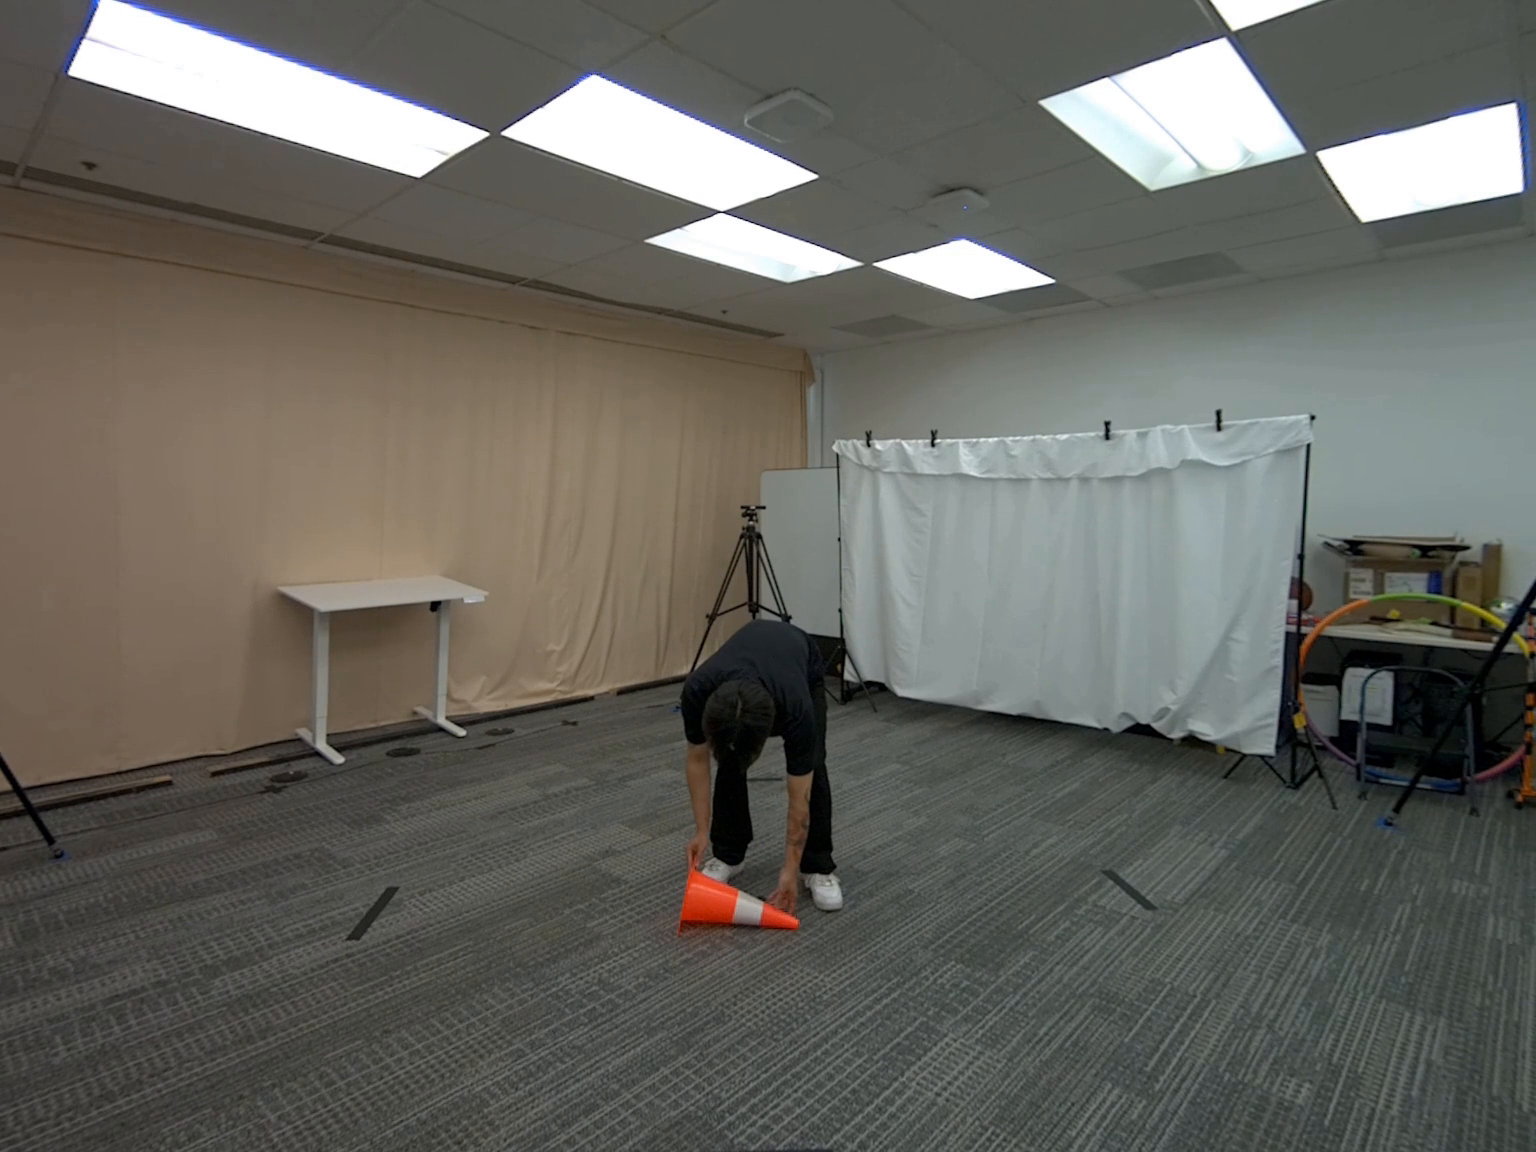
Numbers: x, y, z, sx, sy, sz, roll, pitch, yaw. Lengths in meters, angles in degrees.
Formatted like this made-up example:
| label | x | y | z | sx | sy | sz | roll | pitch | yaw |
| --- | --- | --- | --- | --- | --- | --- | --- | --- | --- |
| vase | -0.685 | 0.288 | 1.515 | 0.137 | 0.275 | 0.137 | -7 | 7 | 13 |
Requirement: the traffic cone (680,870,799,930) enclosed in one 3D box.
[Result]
| label | x | y | z | sx | sy | sz | roll | pitch | yaw |
| --- | --- | --- | --- | --- | --- | --- | --- | --- | --- |
| traffic cone | -0.081 | 1.106 | 2.785 | 0.385 | 0.204 | 0.203 | 12 | 7 | 2 |
